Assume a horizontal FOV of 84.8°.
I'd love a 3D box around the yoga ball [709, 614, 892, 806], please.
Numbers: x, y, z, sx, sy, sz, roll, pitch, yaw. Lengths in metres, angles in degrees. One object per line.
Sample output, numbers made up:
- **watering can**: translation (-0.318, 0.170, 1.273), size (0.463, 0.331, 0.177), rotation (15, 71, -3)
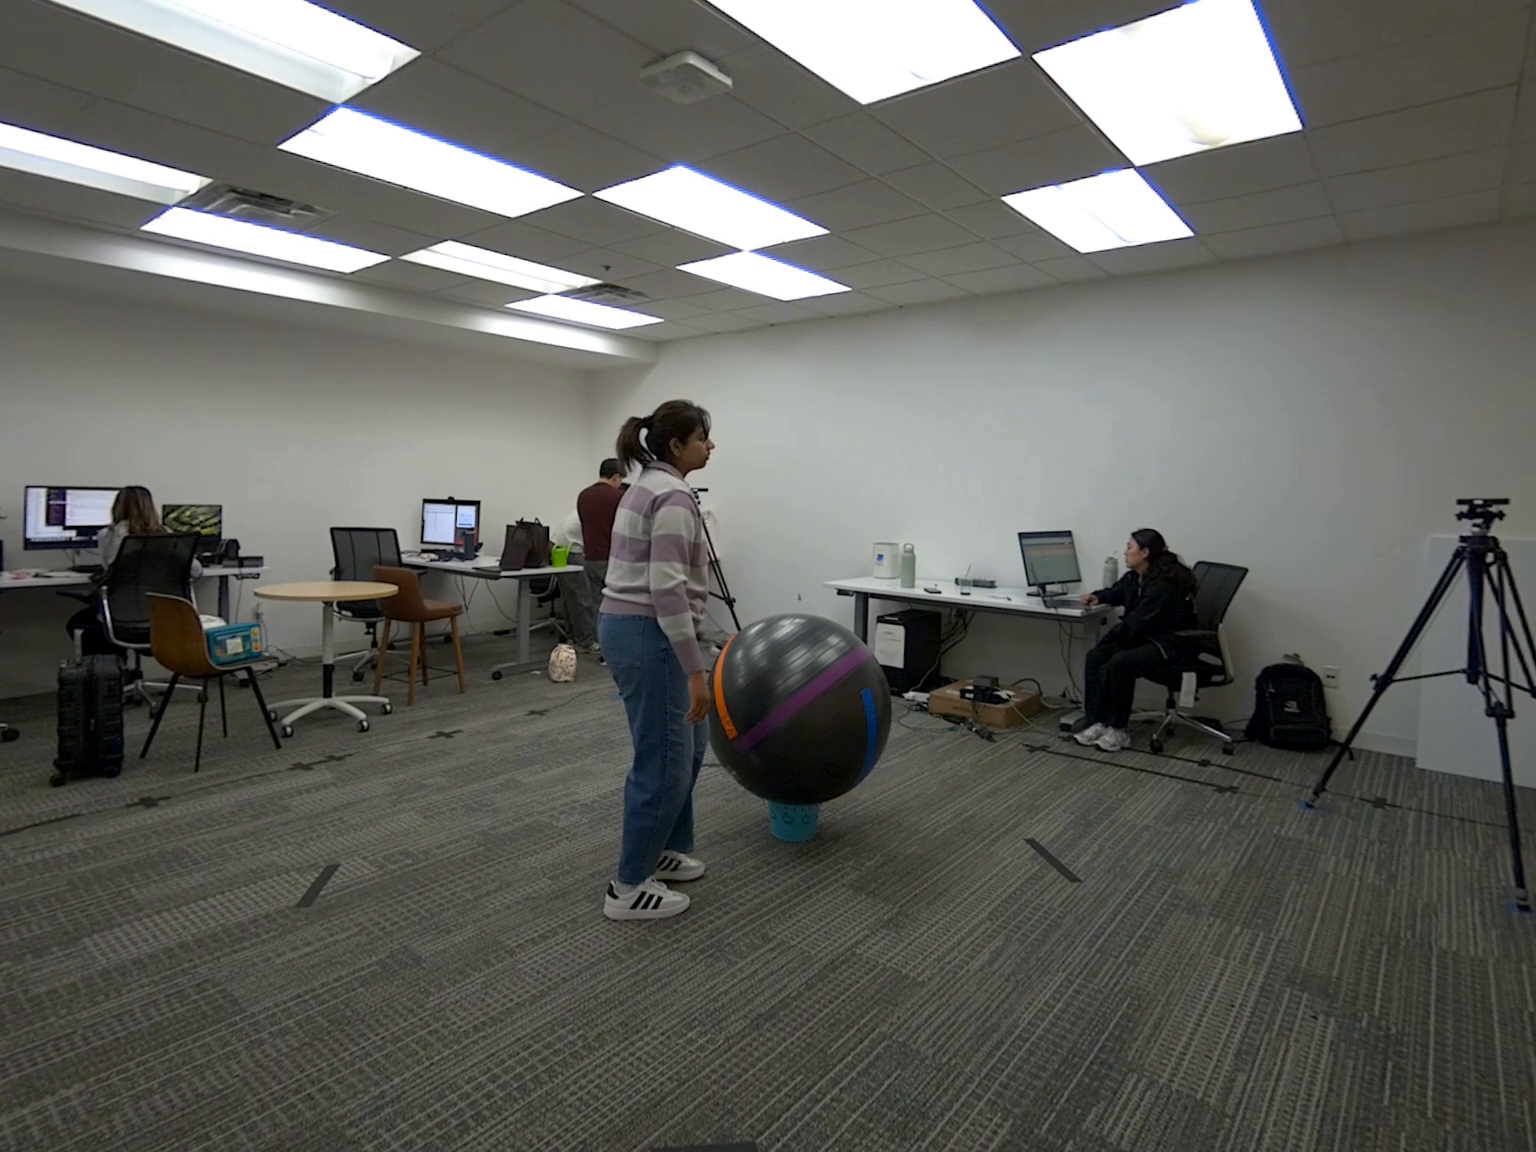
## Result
- **yoga ball**: translation (0.118, 0.542, 3.456), size (0.757, 0.756, 0.761), rotation (1, 4, -2)
